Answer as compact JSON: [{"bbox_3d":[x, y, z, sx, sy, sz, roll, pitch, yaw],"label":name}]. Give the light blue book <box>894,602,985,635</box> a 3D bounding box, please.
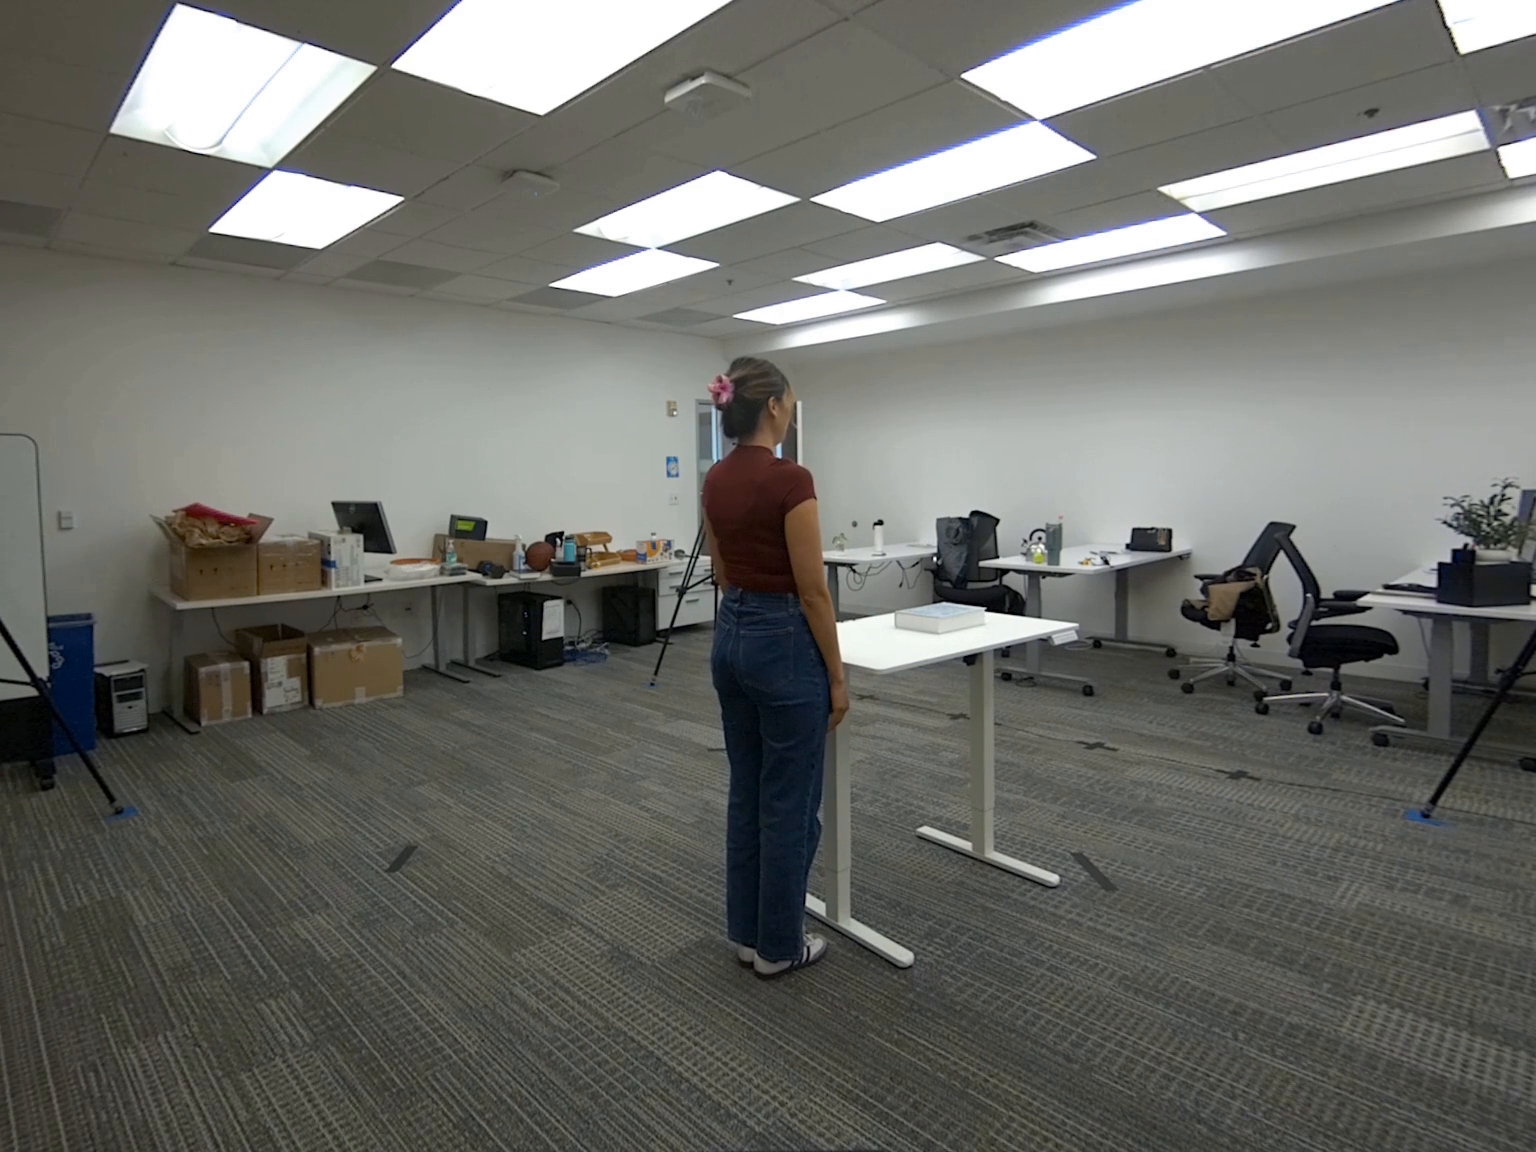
[{"bbox_3d":[0.603,0.145,2.922,0.254,0.059,0.197,-7,8,-41],"label":"light blue book"}]
